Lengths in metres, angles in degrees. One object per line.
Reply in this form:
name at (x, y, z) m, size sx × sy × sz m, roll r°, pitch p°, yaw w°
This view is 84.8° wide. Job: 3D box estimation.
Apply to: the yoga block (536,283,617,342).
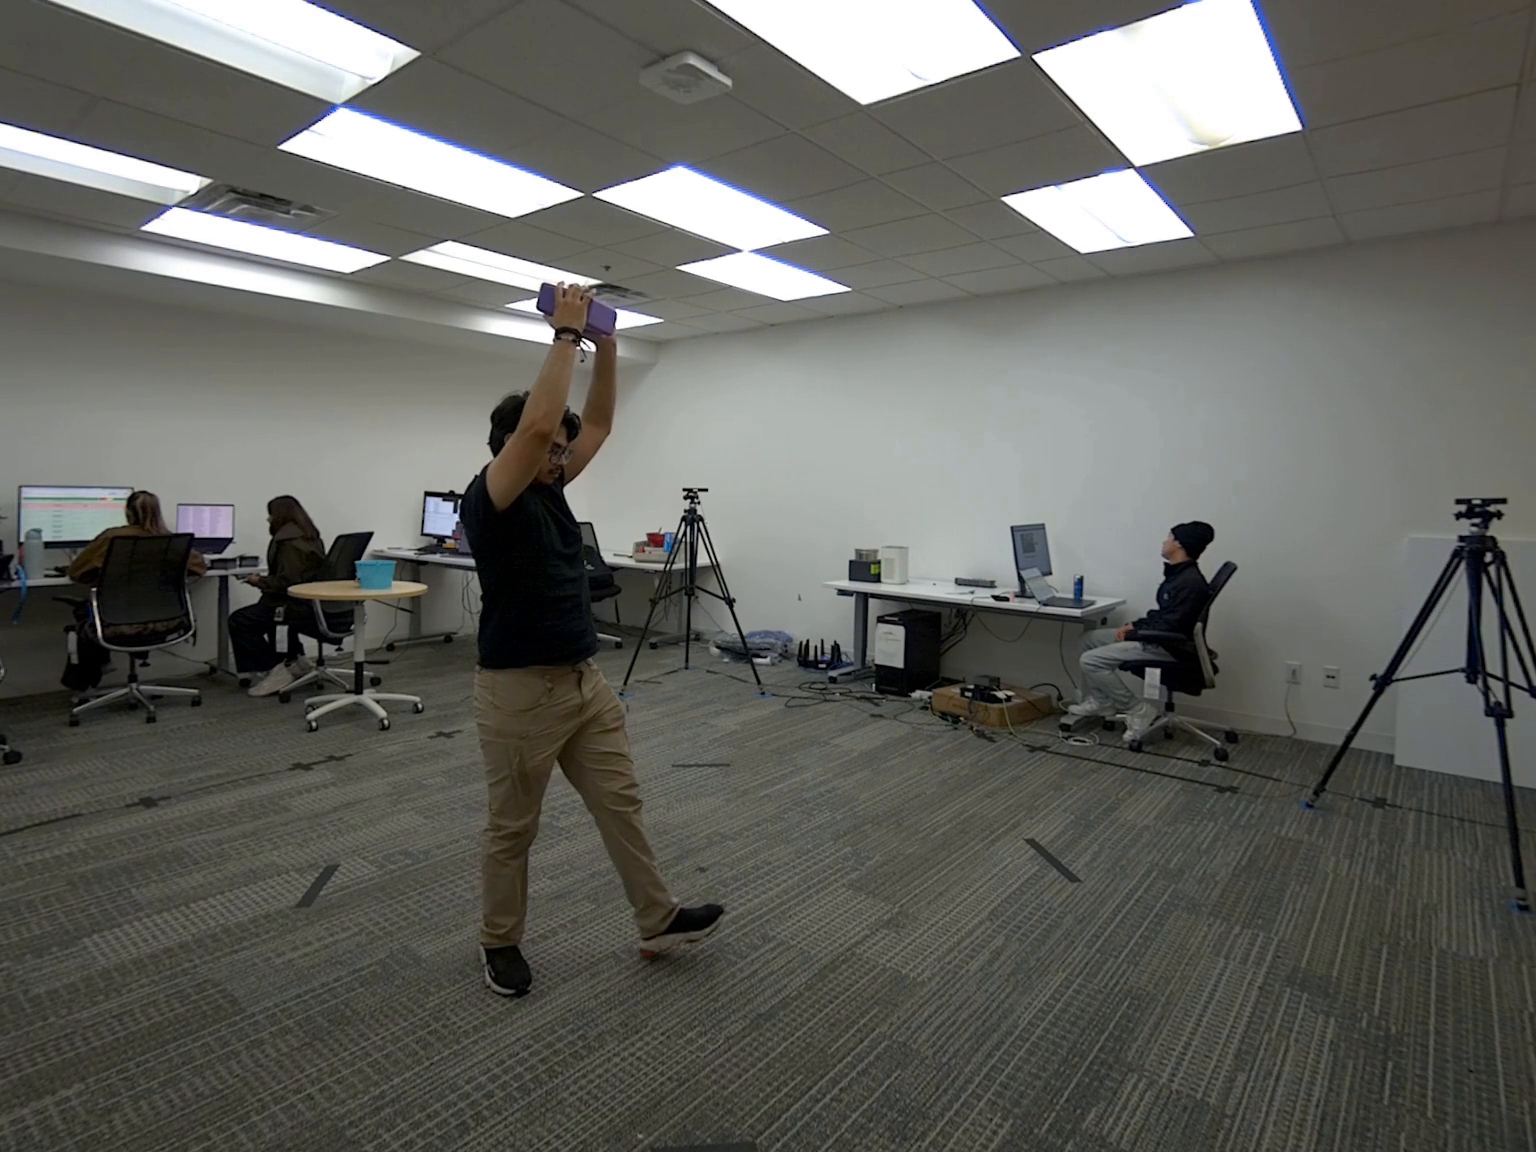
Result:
yoga block at (-0.514, -0.714, 2.266) m, size 0.150 × 0.076 × 0.228 m, roll 18°, pitch 8°, yaw 5°
